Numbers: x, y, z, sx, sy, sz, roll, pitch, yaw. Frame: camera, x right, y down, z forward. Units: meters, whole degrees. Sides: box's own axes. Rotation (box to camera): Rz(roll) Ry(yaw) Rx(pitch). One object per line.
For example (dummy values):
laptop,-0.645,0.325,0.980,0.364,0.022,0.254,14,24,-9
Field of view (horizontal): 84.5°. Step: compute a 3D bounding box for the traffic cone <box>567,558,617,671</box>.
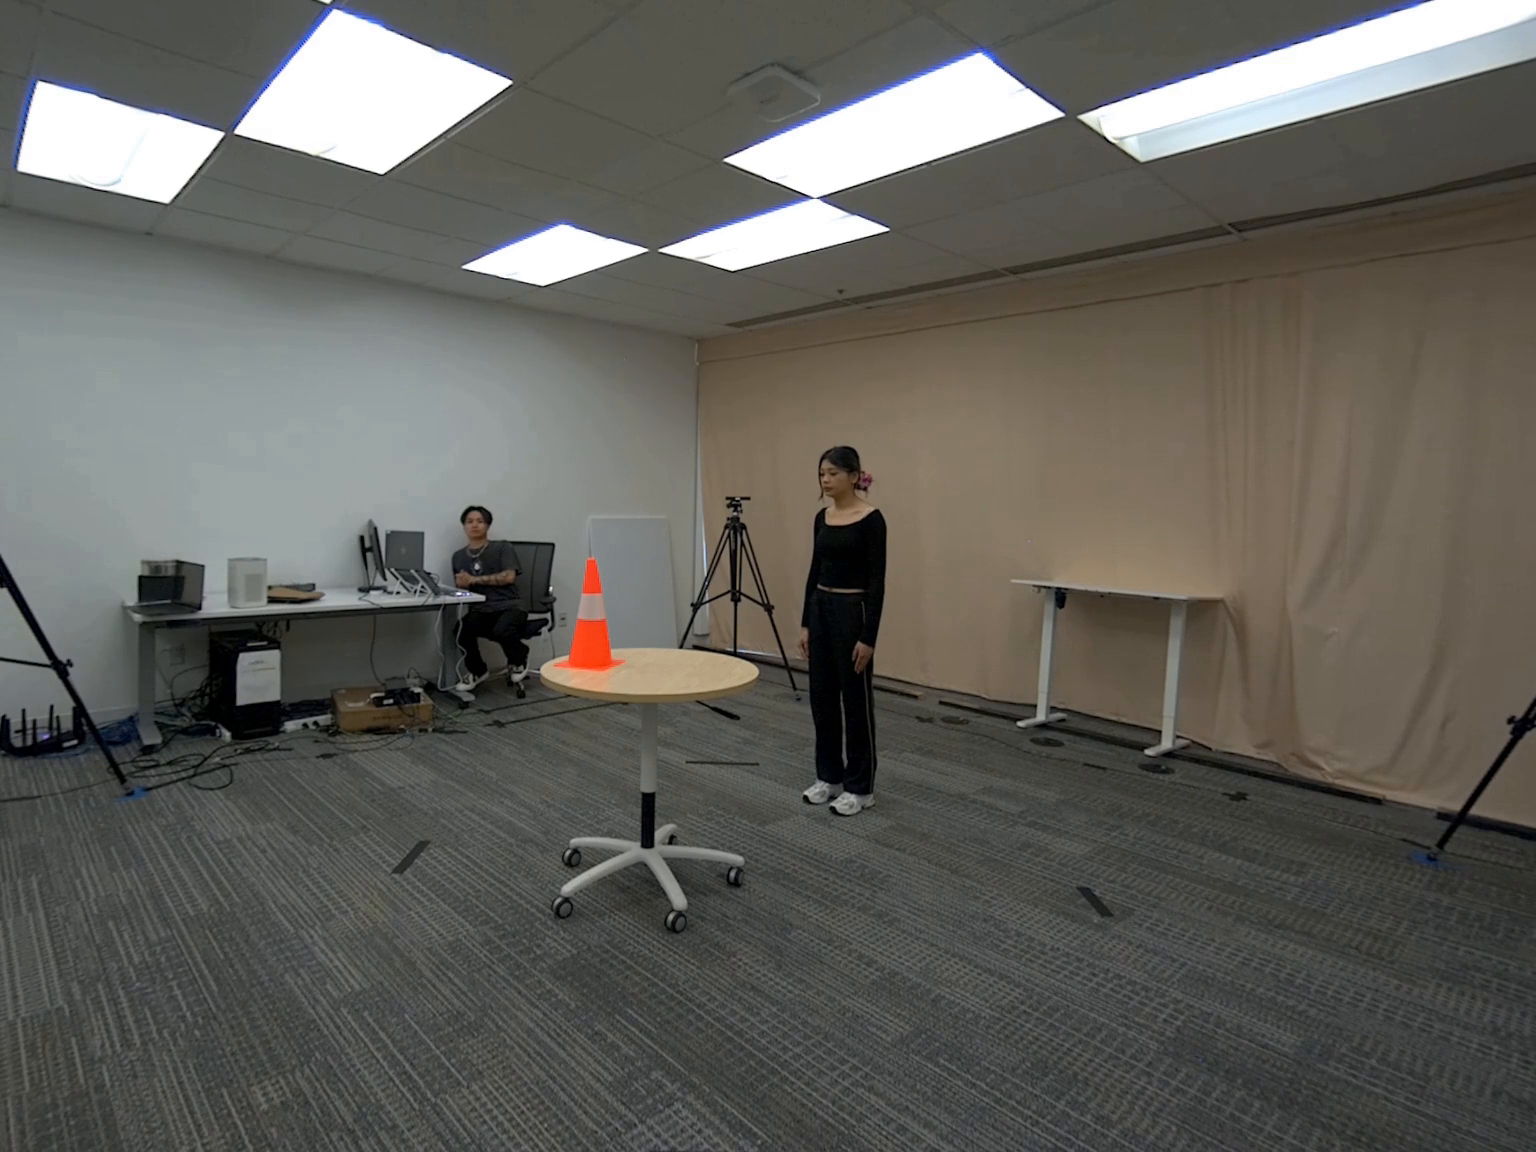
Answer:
traffic cone,-0.643,0.130,3.009,0.206,0.383,0.202,1,2,8
